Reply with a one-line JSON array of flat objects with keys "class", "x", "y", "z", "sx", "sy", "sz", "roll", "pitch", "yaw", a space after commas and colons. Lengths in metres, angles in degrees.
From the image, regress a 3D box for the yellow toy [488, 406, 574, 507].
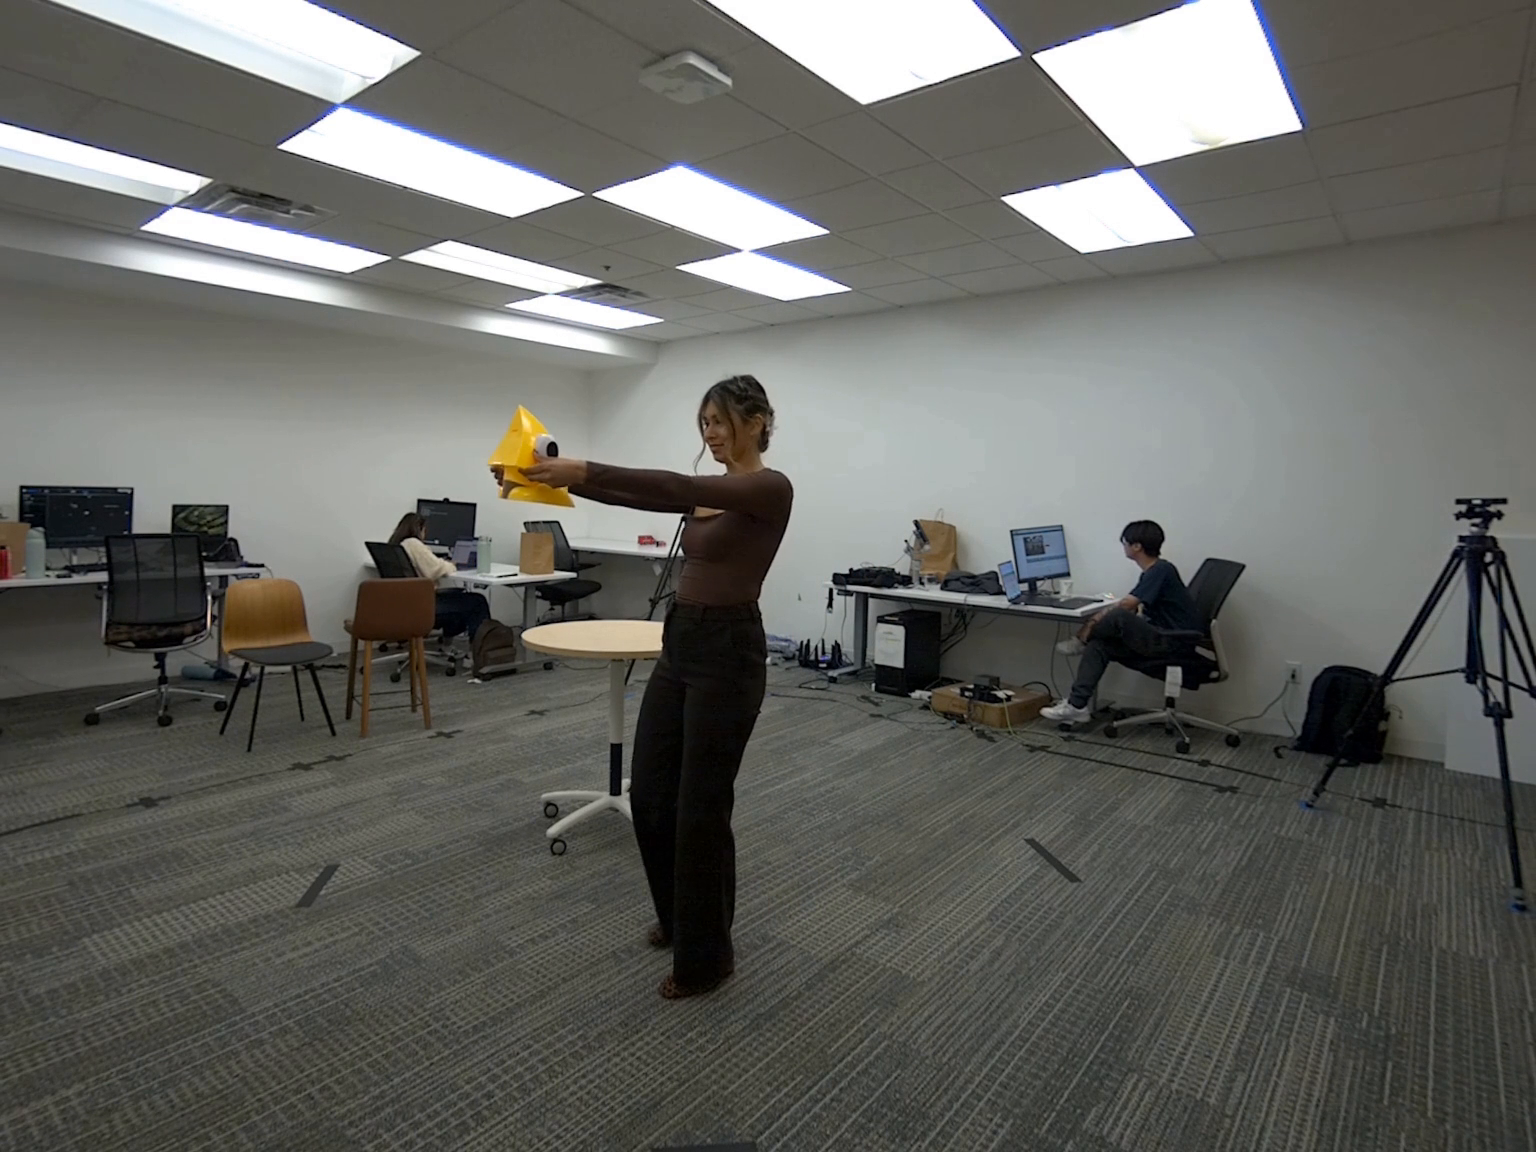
[{"class": "yellow toy", "x": -0.577, "y": -0.298, "z": 2.105, "sx": 0.187, "sy": 0.230, "sz": 0.212, "roll": 6, "pitch": 2, "yaw": -37}]
